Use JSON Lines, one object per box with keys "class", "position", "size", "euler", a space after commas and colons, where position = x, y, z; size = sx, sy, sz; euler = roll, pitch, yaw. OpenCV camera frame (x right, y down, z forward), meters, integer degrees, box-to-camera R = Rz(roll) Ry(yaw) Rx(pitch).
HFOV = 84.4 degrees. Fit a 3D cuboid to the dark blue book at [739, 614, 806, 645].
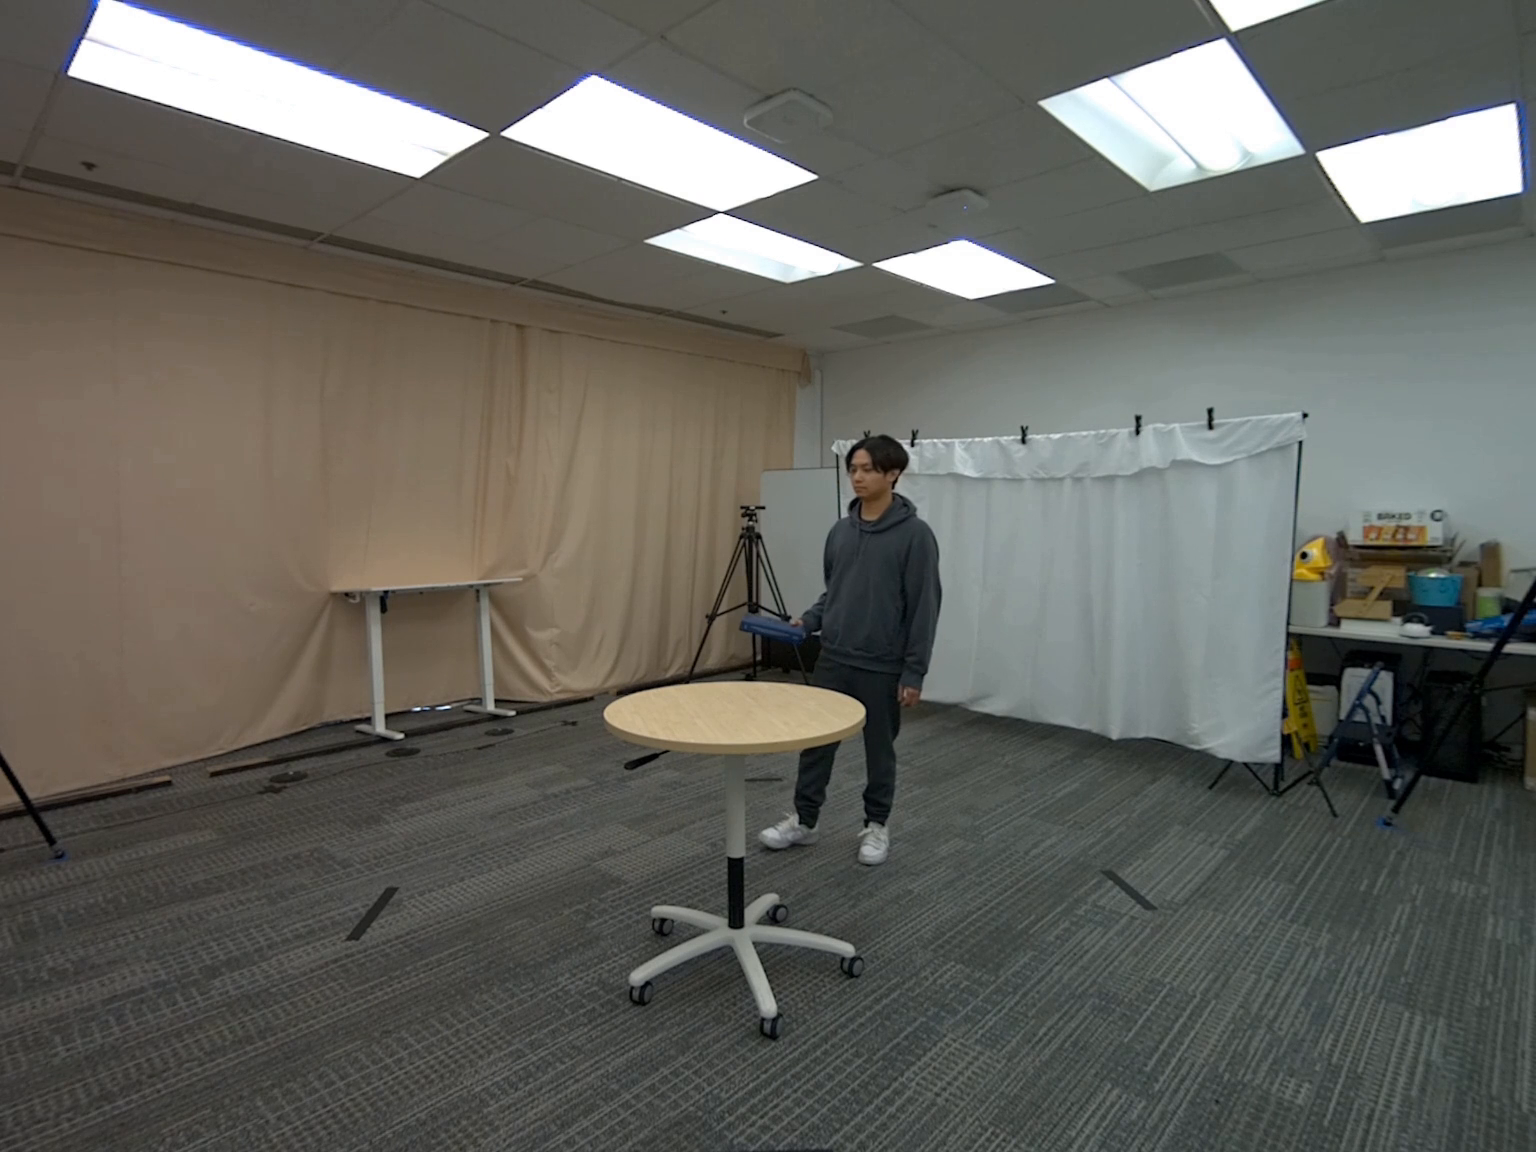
{"class": "dark blue book", "position": [0.023, 0.206, 3.268], "size": [0.243, 0.045, 0.165], "euler": [11, 4, -7]}
